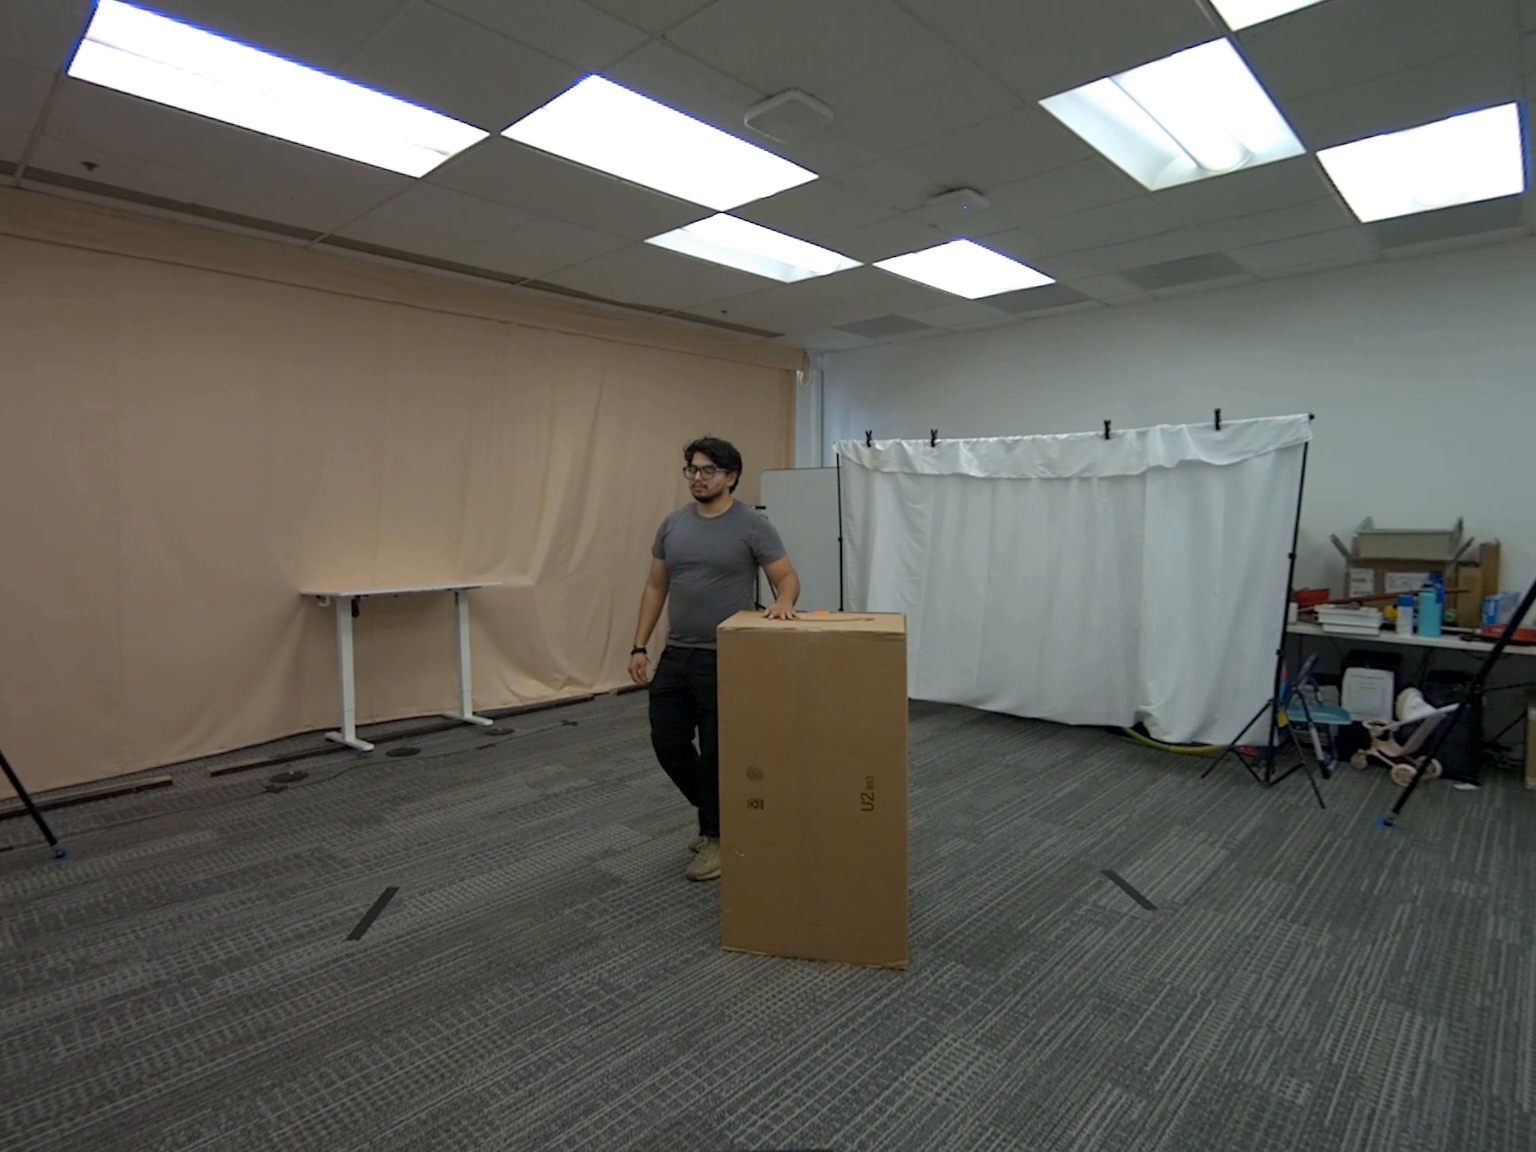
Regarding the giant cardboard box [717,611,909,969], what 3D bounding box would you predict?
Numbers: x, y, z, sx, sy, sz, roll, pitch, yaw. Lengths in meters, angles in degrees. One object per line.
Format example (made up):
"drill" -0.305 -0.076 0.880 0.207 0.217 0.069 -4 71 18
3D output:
"giant cardboard box" 0.169 0.650 2.762 0.585 1.024 0.421 0 3 12
